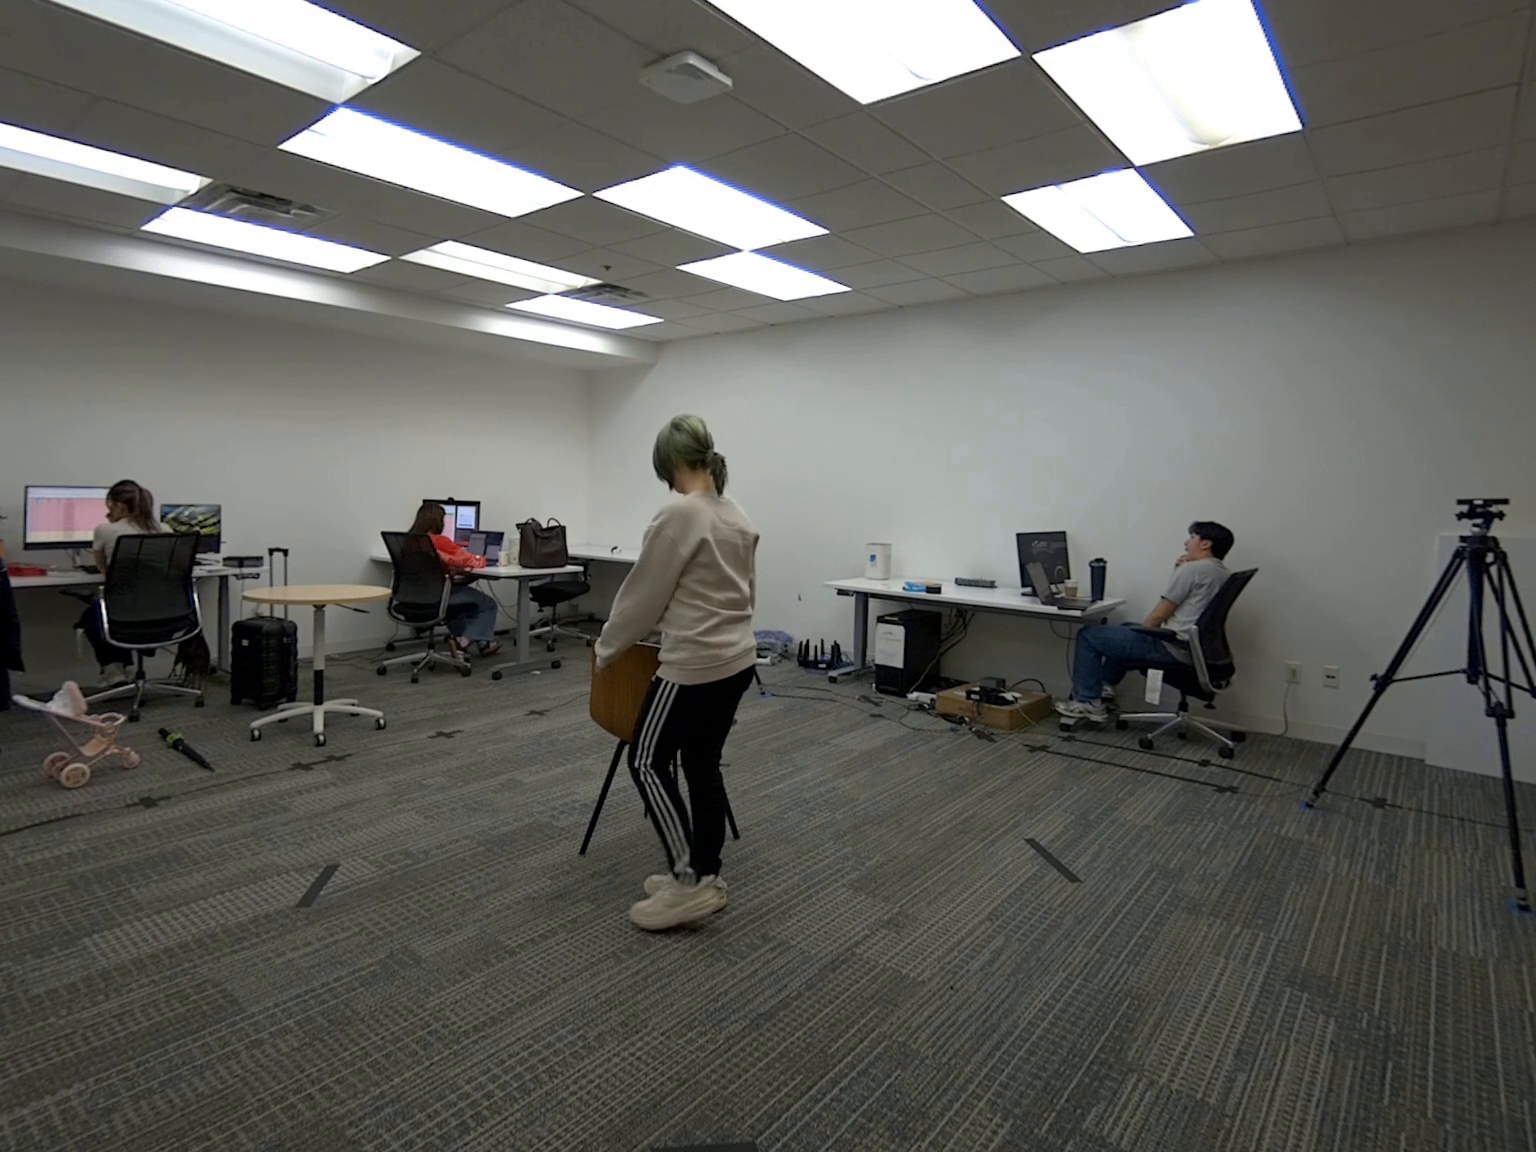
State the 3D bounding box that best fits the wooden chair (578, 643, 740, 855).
[{"bbox_3d":[-0.413,0.620,3.287,0.491,0.872,0.512,3,7,27],"label":"wooden chair"}]
